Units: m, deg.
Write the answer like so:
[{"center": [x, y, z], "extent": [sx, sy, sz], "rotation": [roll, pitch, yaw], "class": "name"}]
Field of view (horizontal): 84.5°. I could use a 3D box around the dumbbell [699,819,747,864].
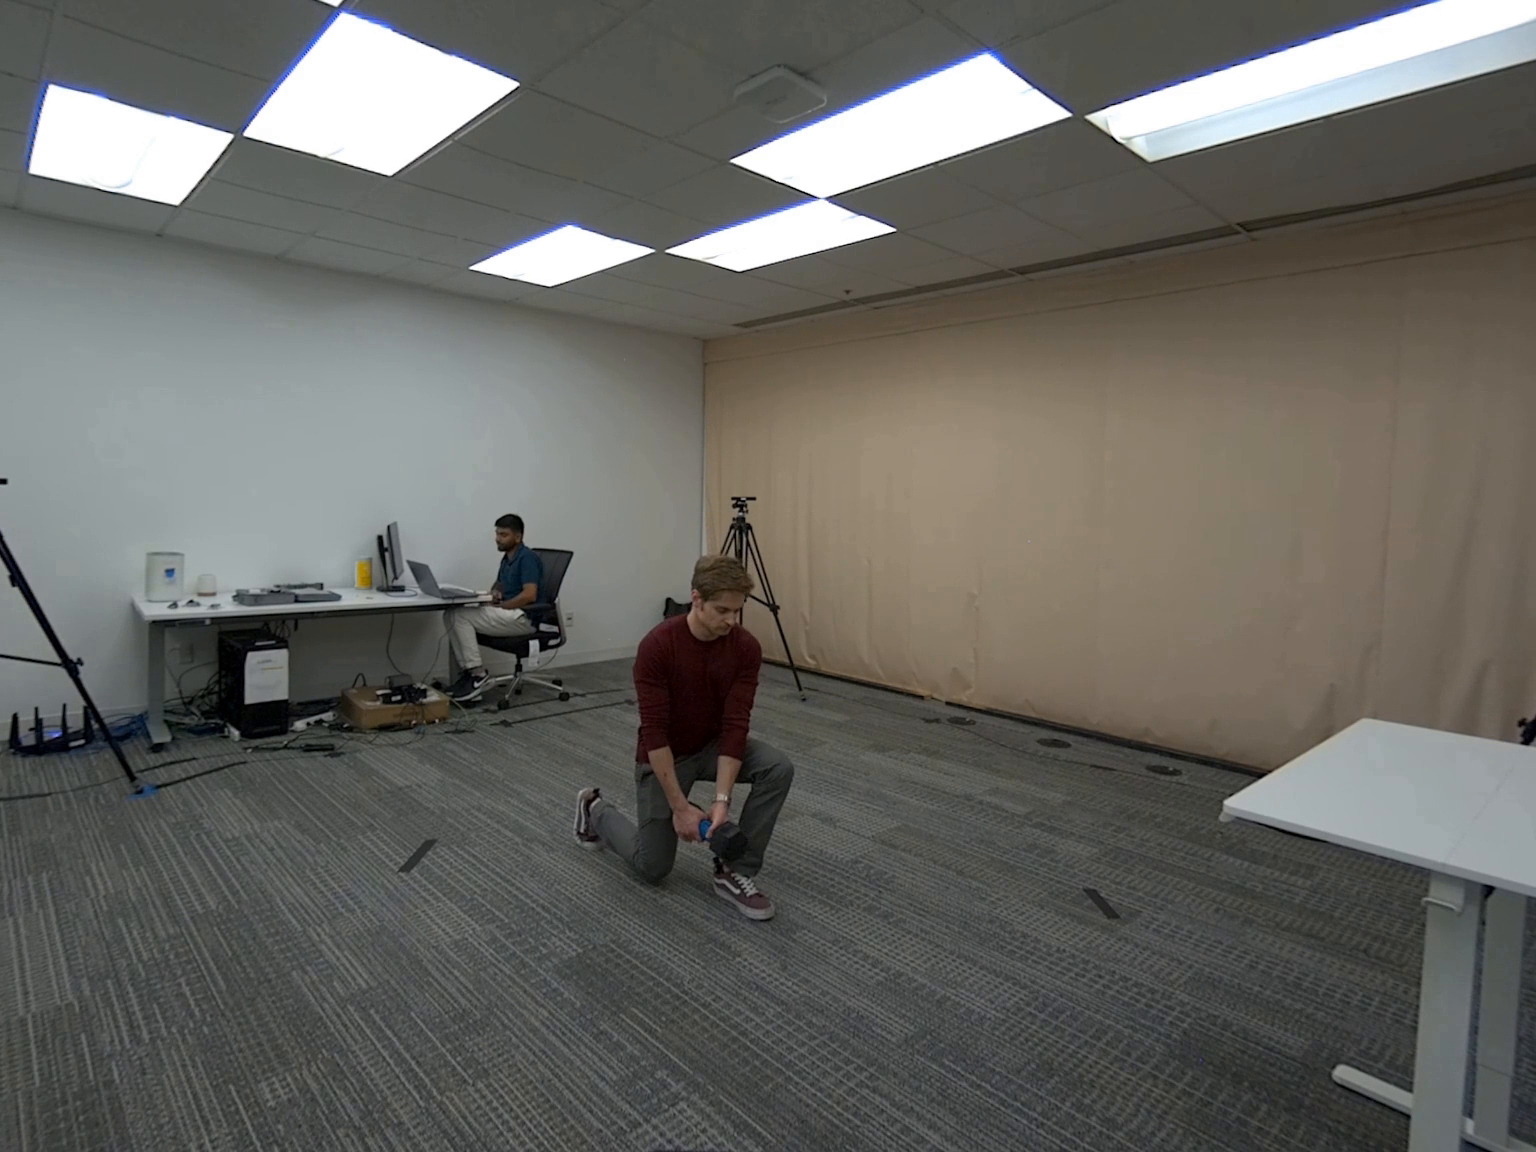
[{"center": [-0.206, 0.852, 2.826], "extent": [0.301, 0.119, 0.109], "rotation": [9, 52, 51], "class": "dumbbell"}]
